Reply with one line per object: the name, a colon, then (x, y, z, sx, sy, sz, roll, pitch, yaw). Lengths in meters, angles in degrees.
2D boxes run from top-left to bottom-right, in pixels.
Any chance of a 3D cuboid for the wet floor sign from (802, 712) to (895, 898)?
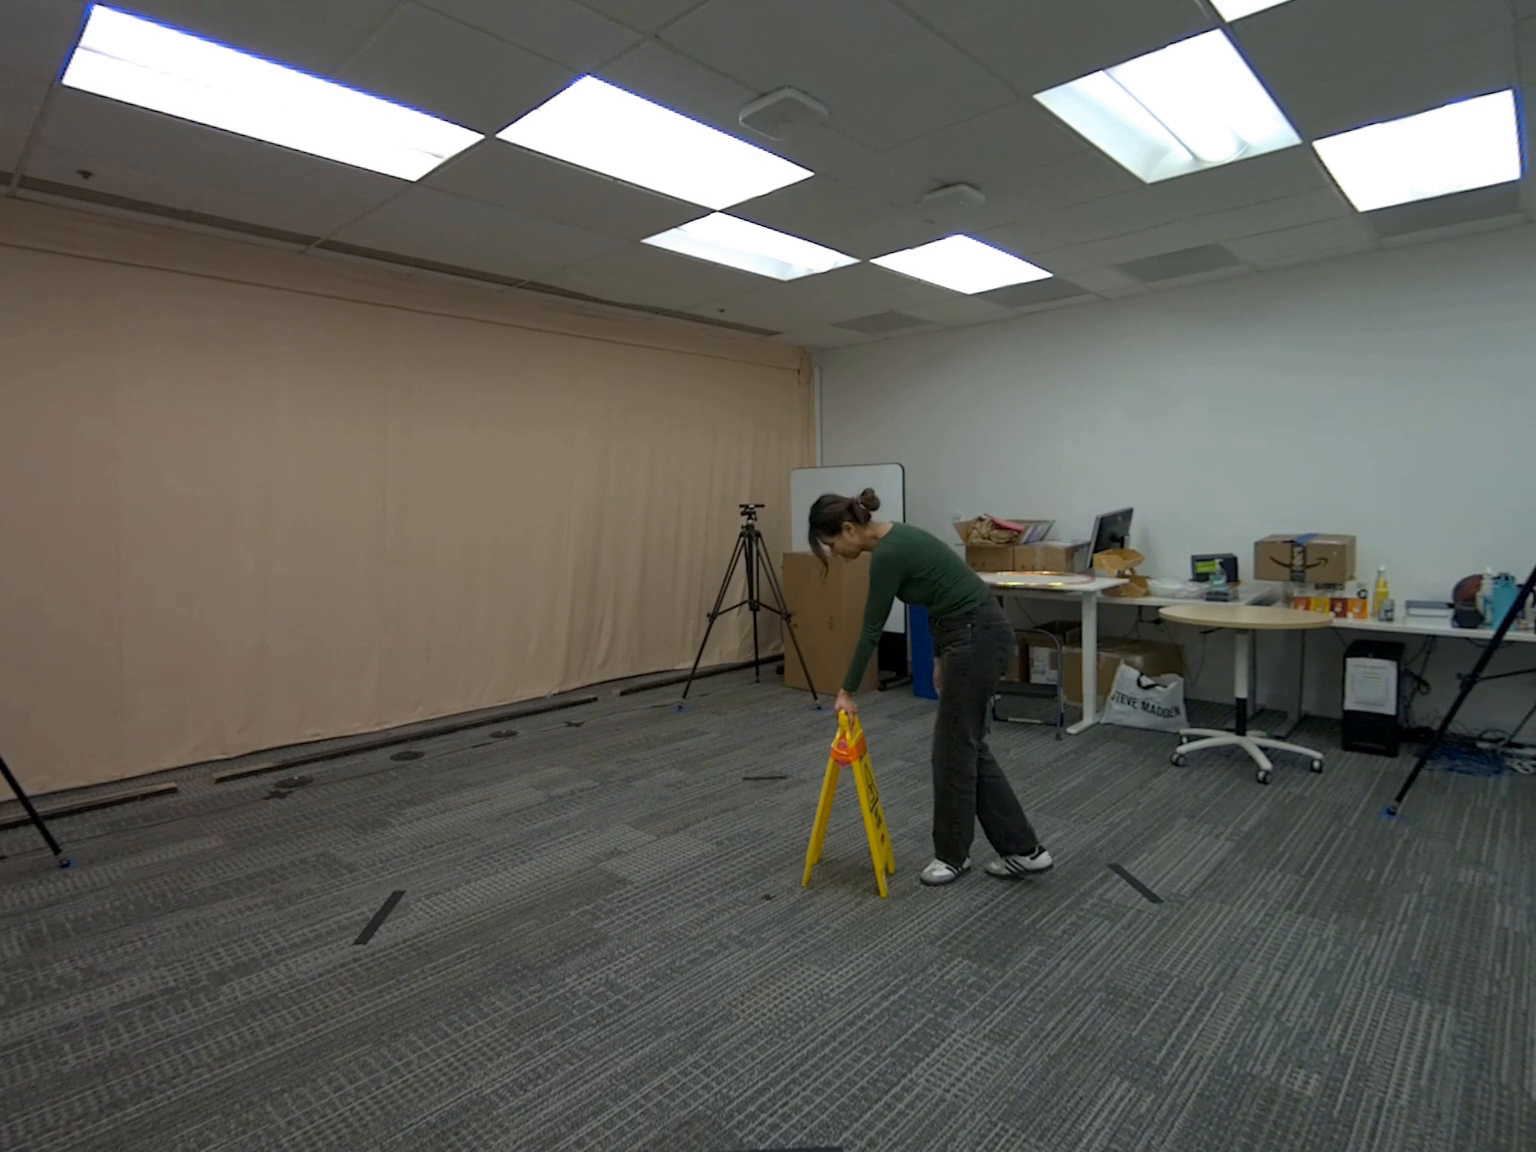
wet floor sign: (0.298, 0.800, 3.122, 0.295, 0.645, 0.277, 0, 3, 18)
